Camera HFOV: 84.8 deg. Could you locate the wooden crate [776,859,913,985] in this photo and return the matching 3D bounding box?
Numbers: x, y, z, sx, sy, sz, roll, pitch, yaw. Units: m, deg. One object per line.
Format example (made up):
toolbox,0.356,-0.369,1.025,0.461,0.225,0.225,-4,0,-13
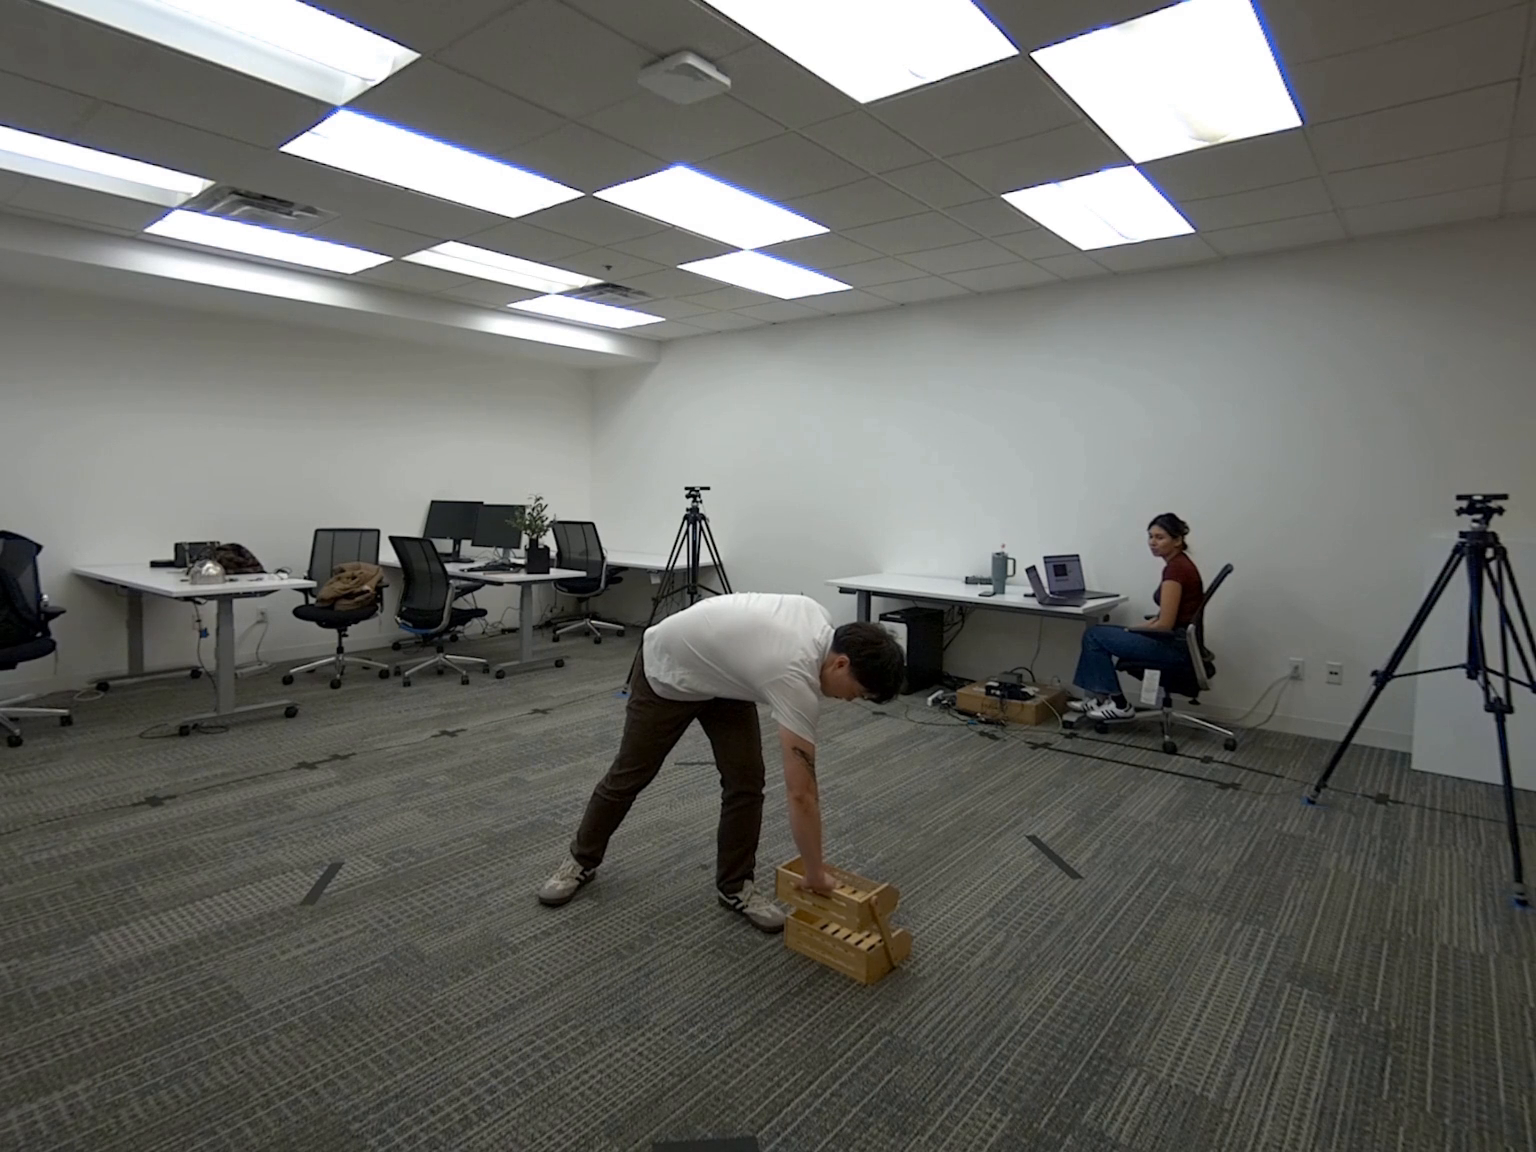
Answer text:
wooden crate,0.224,0.993,2.553,0.335,0.272,0.293,5,7,40
